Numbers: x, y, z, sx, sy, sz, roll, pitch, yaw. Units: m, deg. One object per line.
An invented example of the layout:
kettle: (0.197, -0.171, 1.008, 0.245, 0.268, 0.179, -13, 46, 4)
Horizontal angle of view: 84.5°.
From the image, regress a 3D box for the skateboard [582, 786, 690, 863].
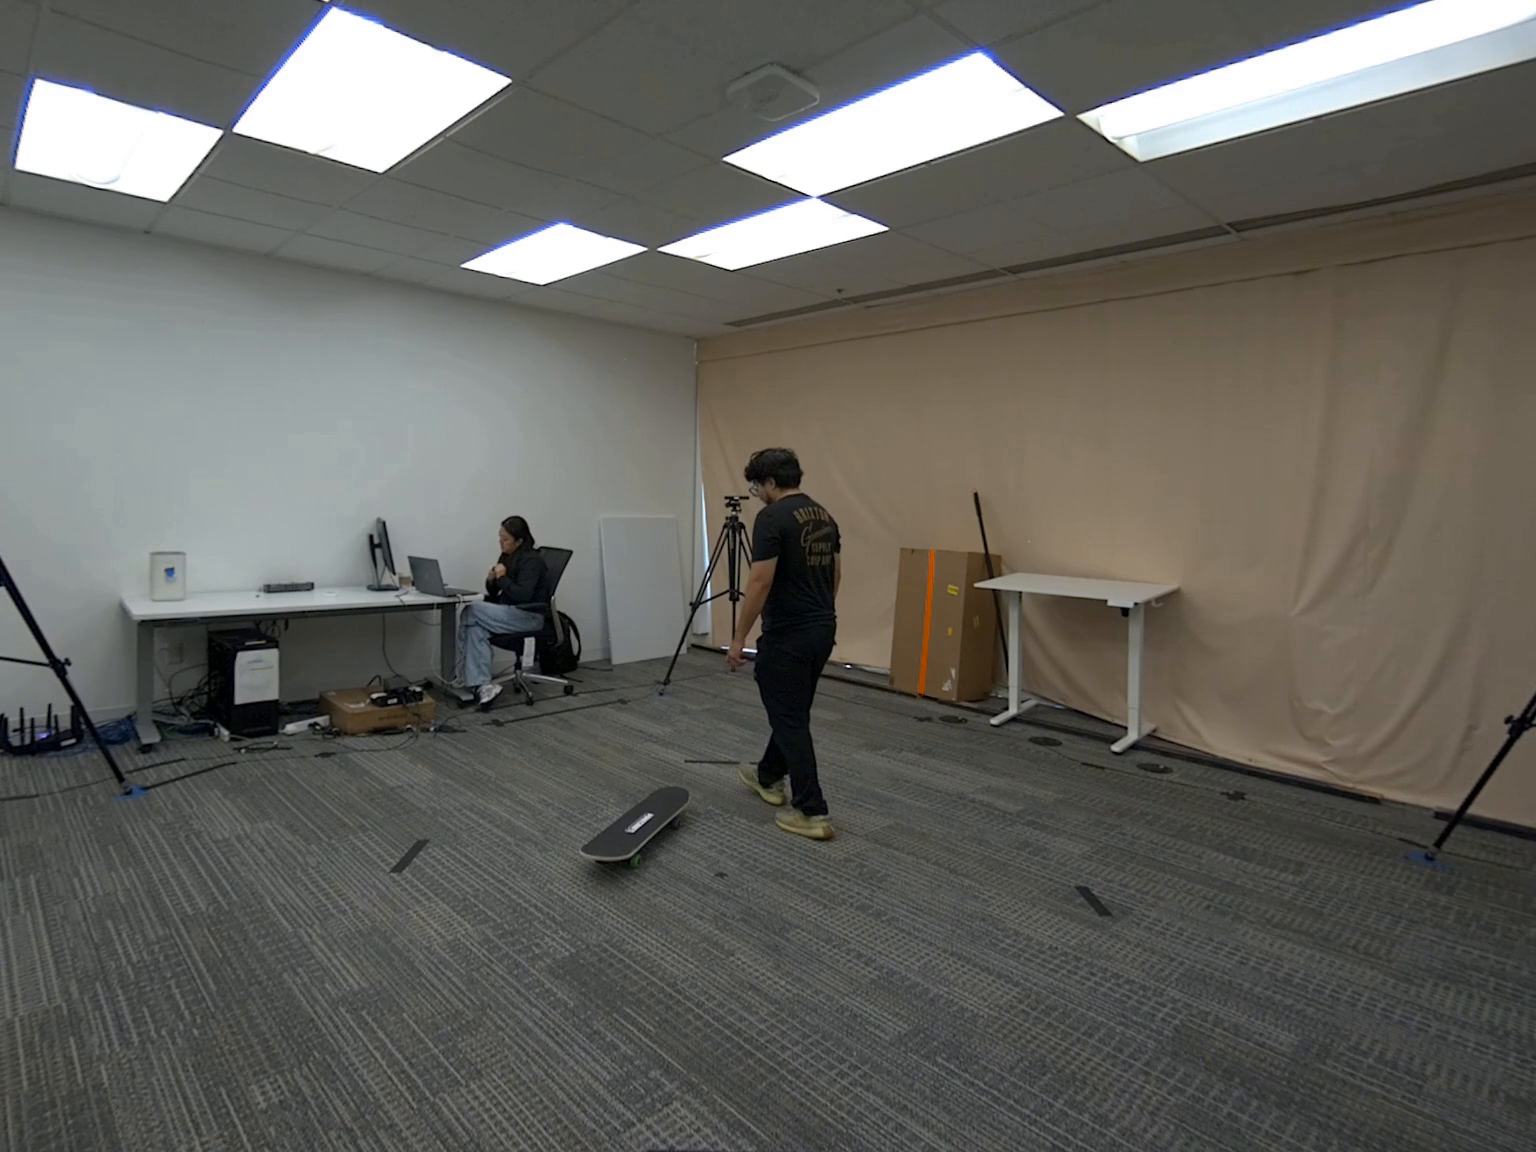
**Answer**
skateboard: (-0.519, 1.013, 3.355, 0.196, 0.110, 0.777, 3, 5, 15)
